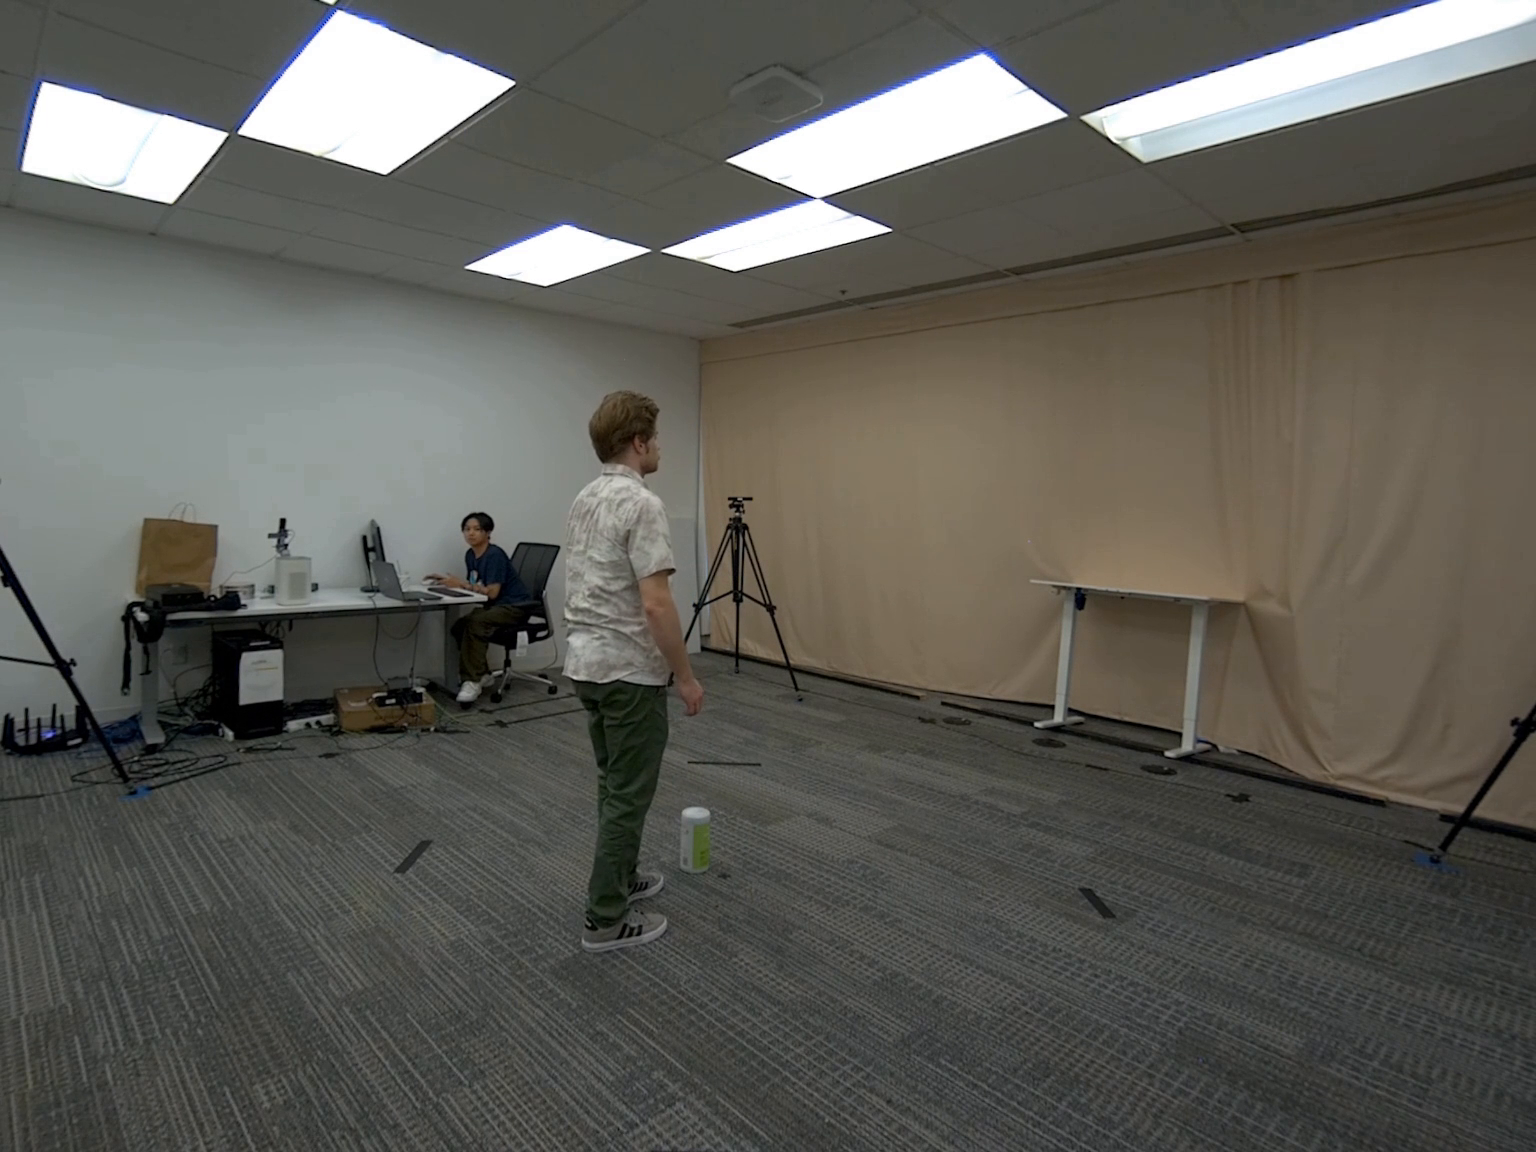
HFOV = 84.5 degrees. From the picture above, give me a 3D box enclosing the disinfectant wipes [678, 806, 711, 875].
[{"bbox_3d":[-0.281,0.994,3.158,0.118,0.217,0.118,2,3,-1],"label":"disinfectant wipes"}]
